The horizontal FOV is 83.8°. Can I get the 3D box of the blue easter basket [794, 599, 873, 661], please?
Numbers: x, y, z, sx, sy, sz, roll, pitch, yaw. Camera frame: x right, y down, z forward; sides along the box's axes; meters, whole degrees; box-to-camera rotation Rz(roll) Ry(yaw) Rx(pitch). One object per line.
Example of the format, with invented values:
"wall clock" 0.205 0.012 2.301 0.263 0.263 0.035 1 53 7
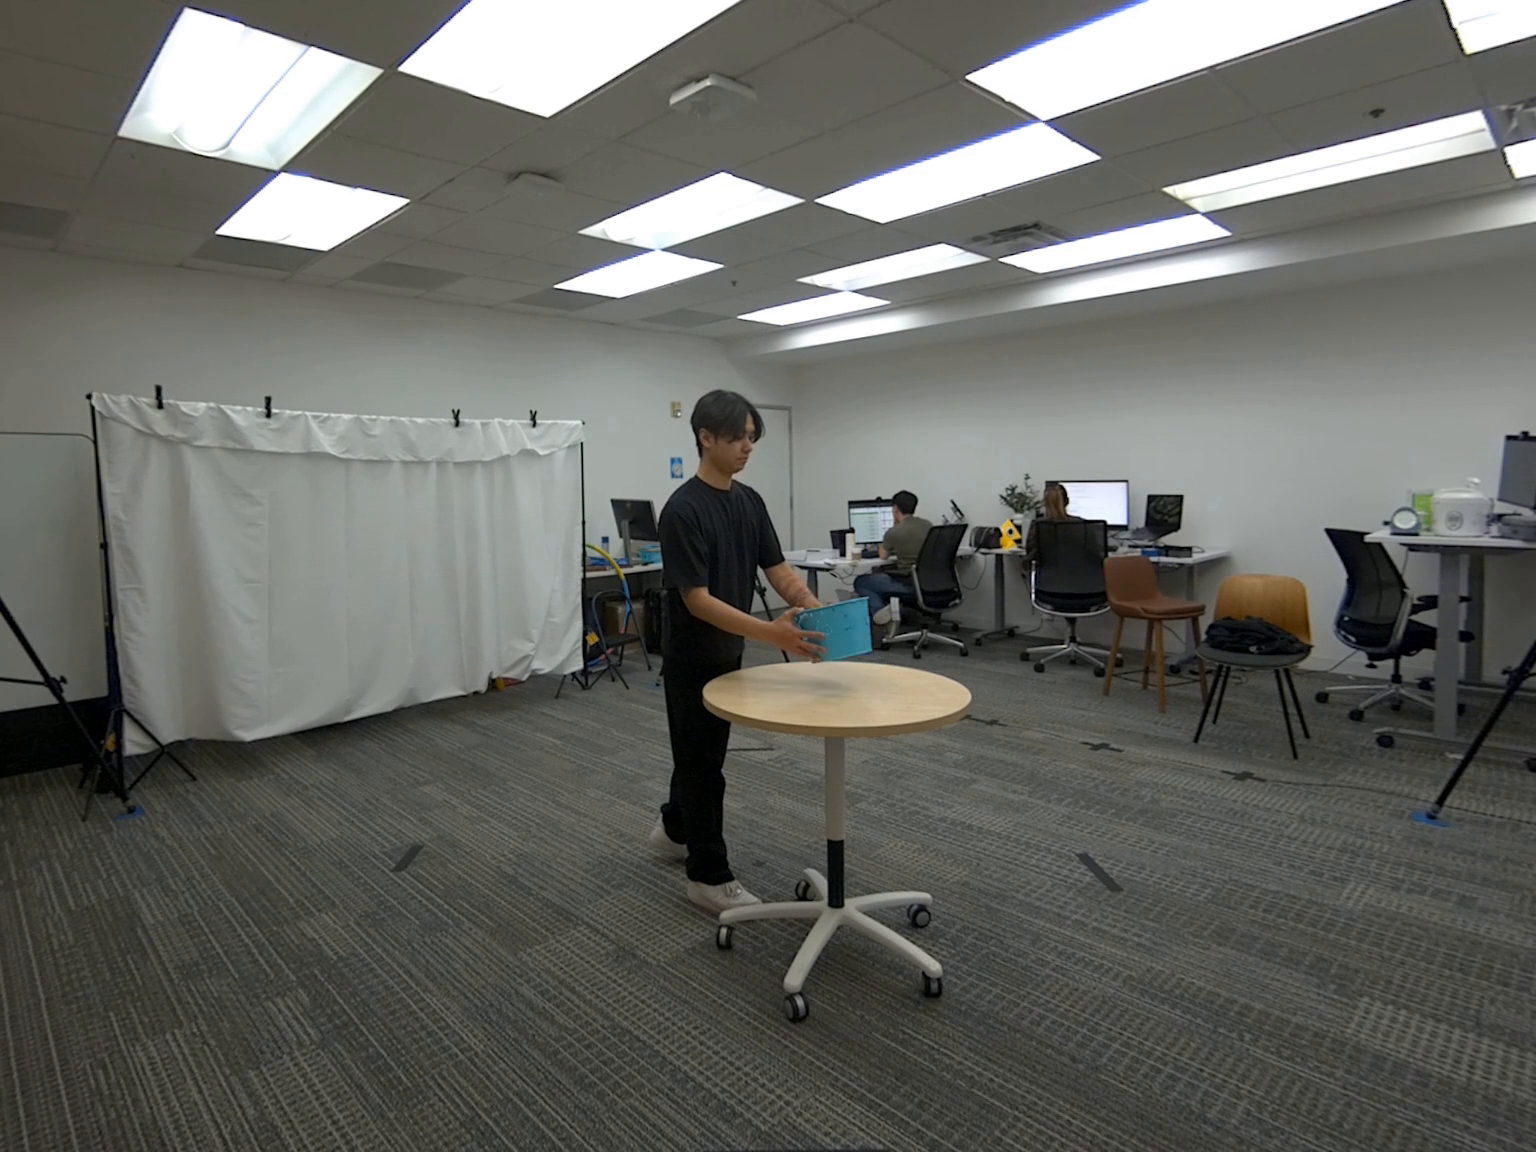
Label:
"blue easter basket" 0.189 0.161 2.511 0.243 0.157 0.243 -10 -4 -2
